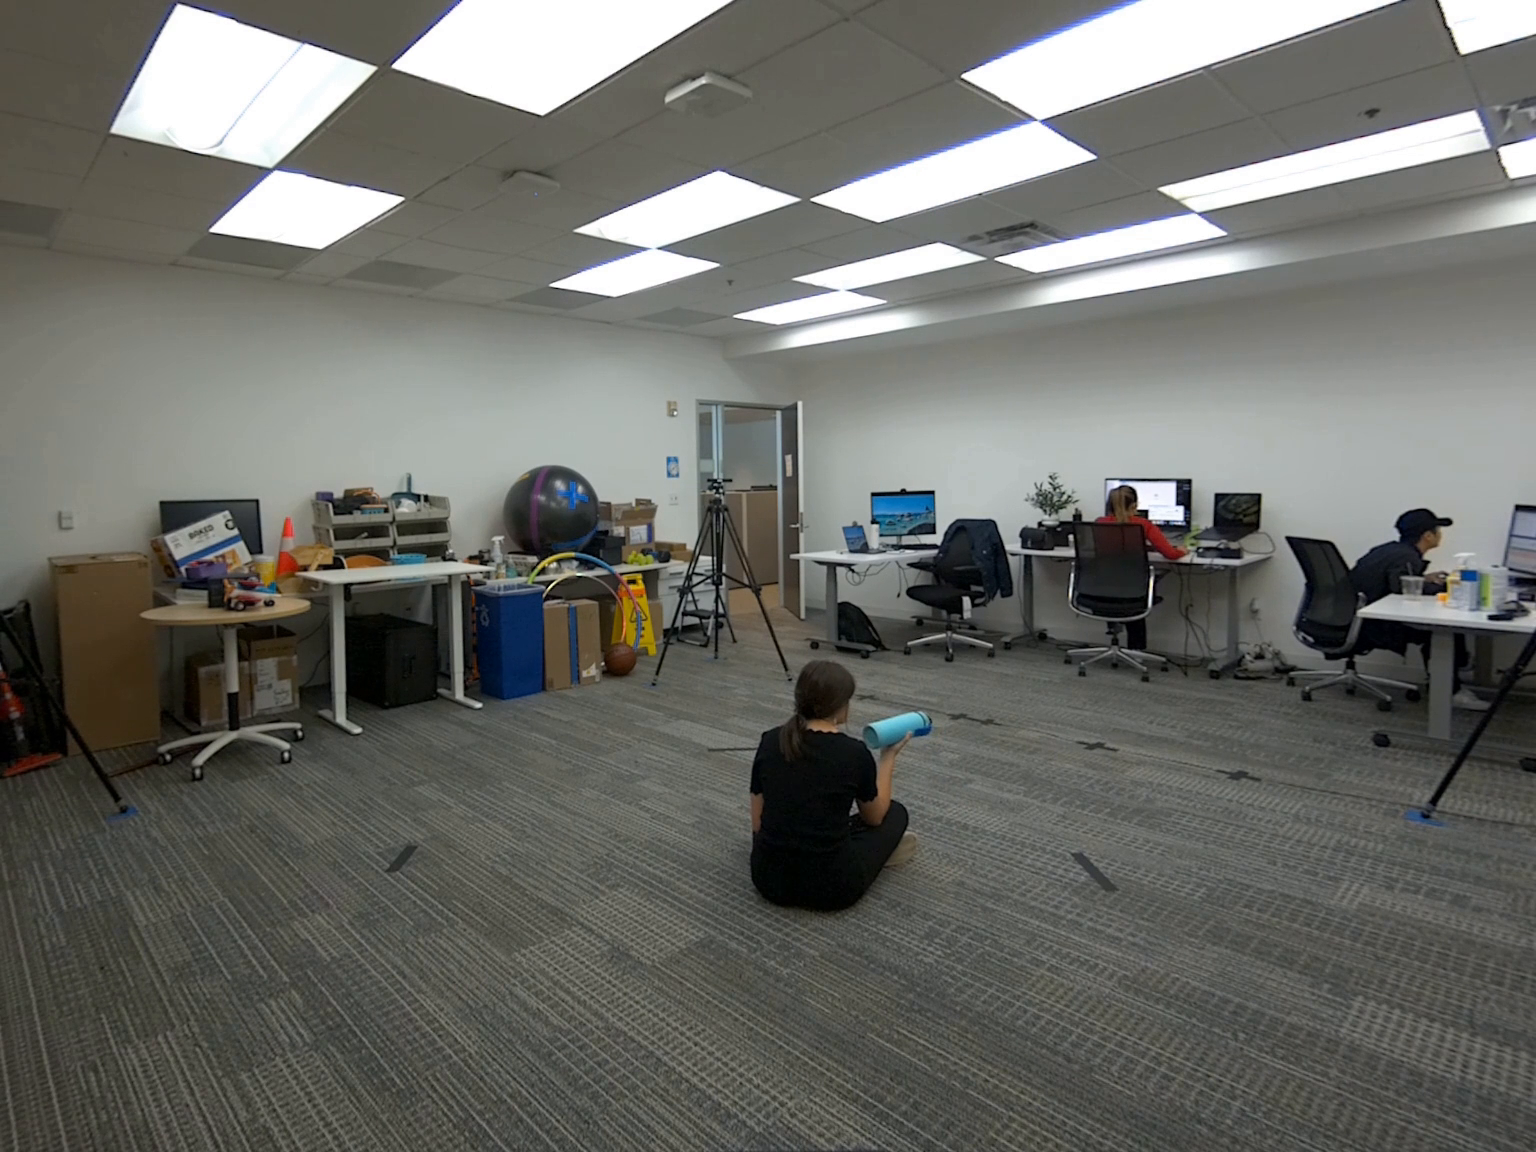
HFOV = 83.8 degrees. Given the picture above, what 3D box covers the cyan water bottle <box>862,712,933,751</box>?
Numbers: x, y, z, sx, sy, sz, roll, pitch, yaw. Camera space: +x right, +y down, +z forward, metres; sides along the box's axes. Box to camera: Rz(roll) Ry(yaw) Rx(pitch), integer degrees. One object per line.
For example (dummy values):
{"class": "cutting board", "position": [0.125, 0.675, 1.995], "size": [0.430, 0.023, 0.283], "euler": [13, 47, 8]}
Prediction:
{"class": "cyan water bottle", "position": [0.485, 0.557, 3.118], "size": [0.277, 0.092, 0.095], "euler": [-8, 8, -32]}
